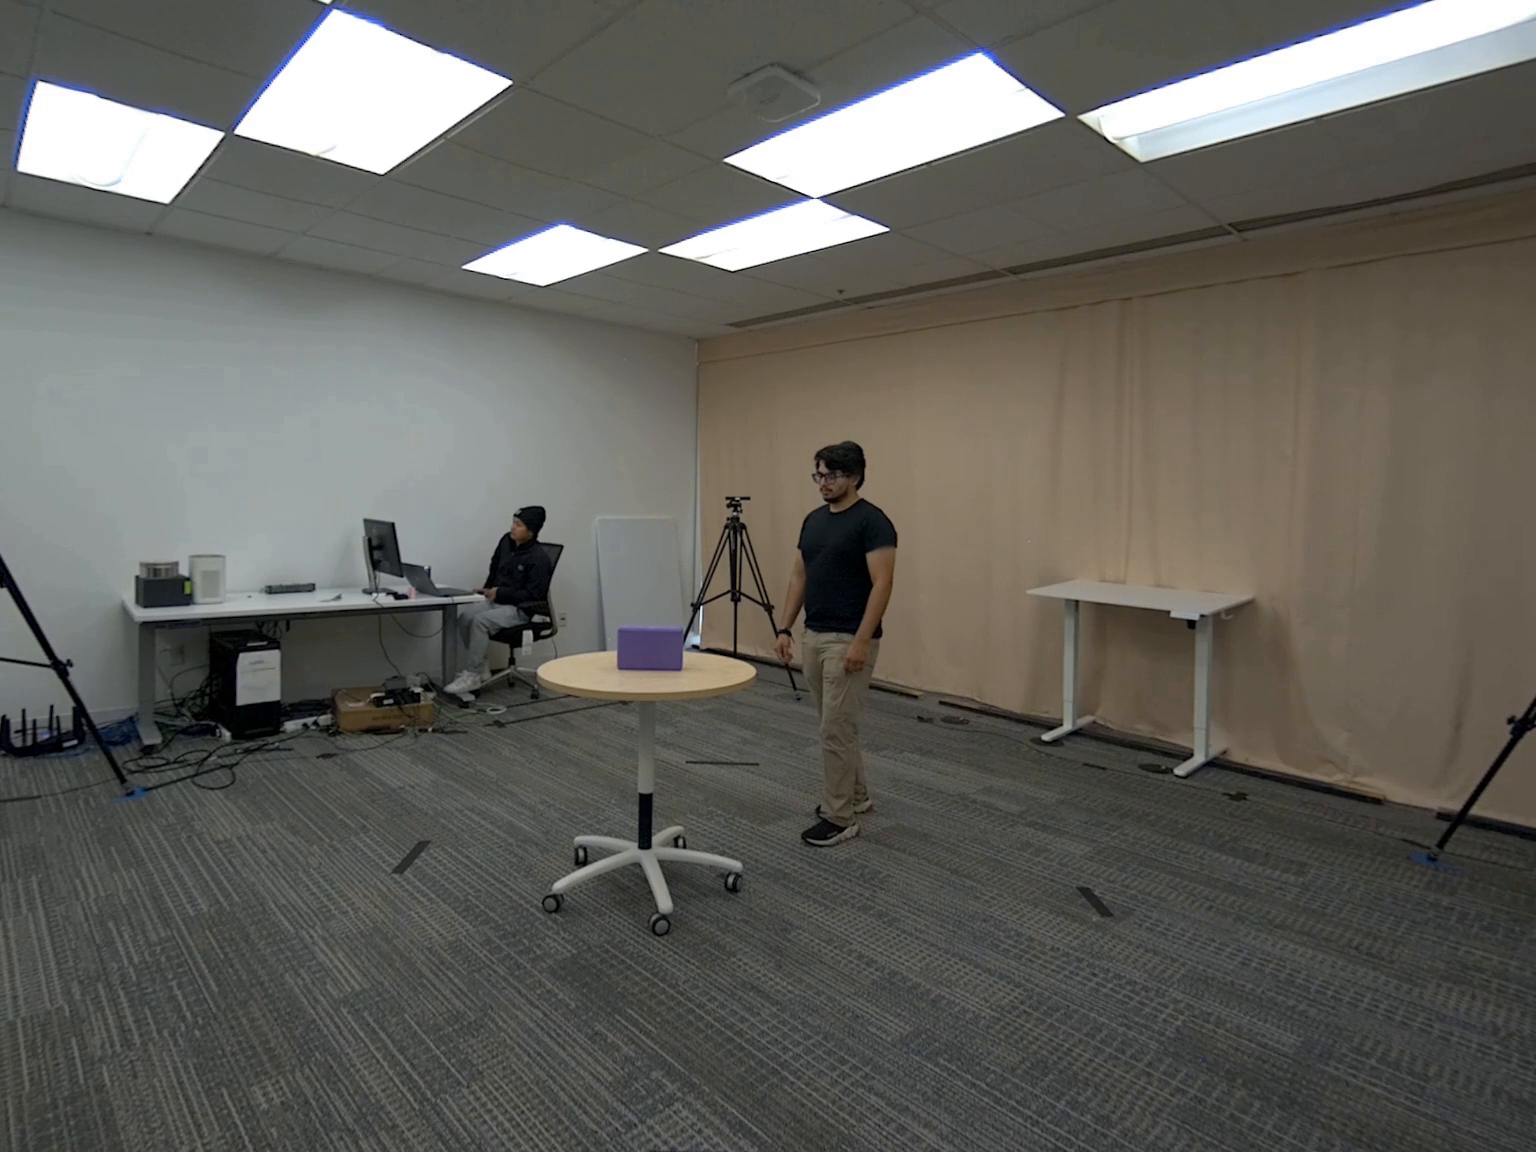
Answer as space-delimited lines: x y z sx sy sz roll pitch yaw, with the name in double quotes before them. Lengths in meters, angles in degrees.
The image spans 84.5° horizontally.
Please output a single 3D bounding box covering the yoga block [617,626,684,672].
"yoga block" -0.427 0.254 2.972 0.229 0.148 0.076 1 4 1
